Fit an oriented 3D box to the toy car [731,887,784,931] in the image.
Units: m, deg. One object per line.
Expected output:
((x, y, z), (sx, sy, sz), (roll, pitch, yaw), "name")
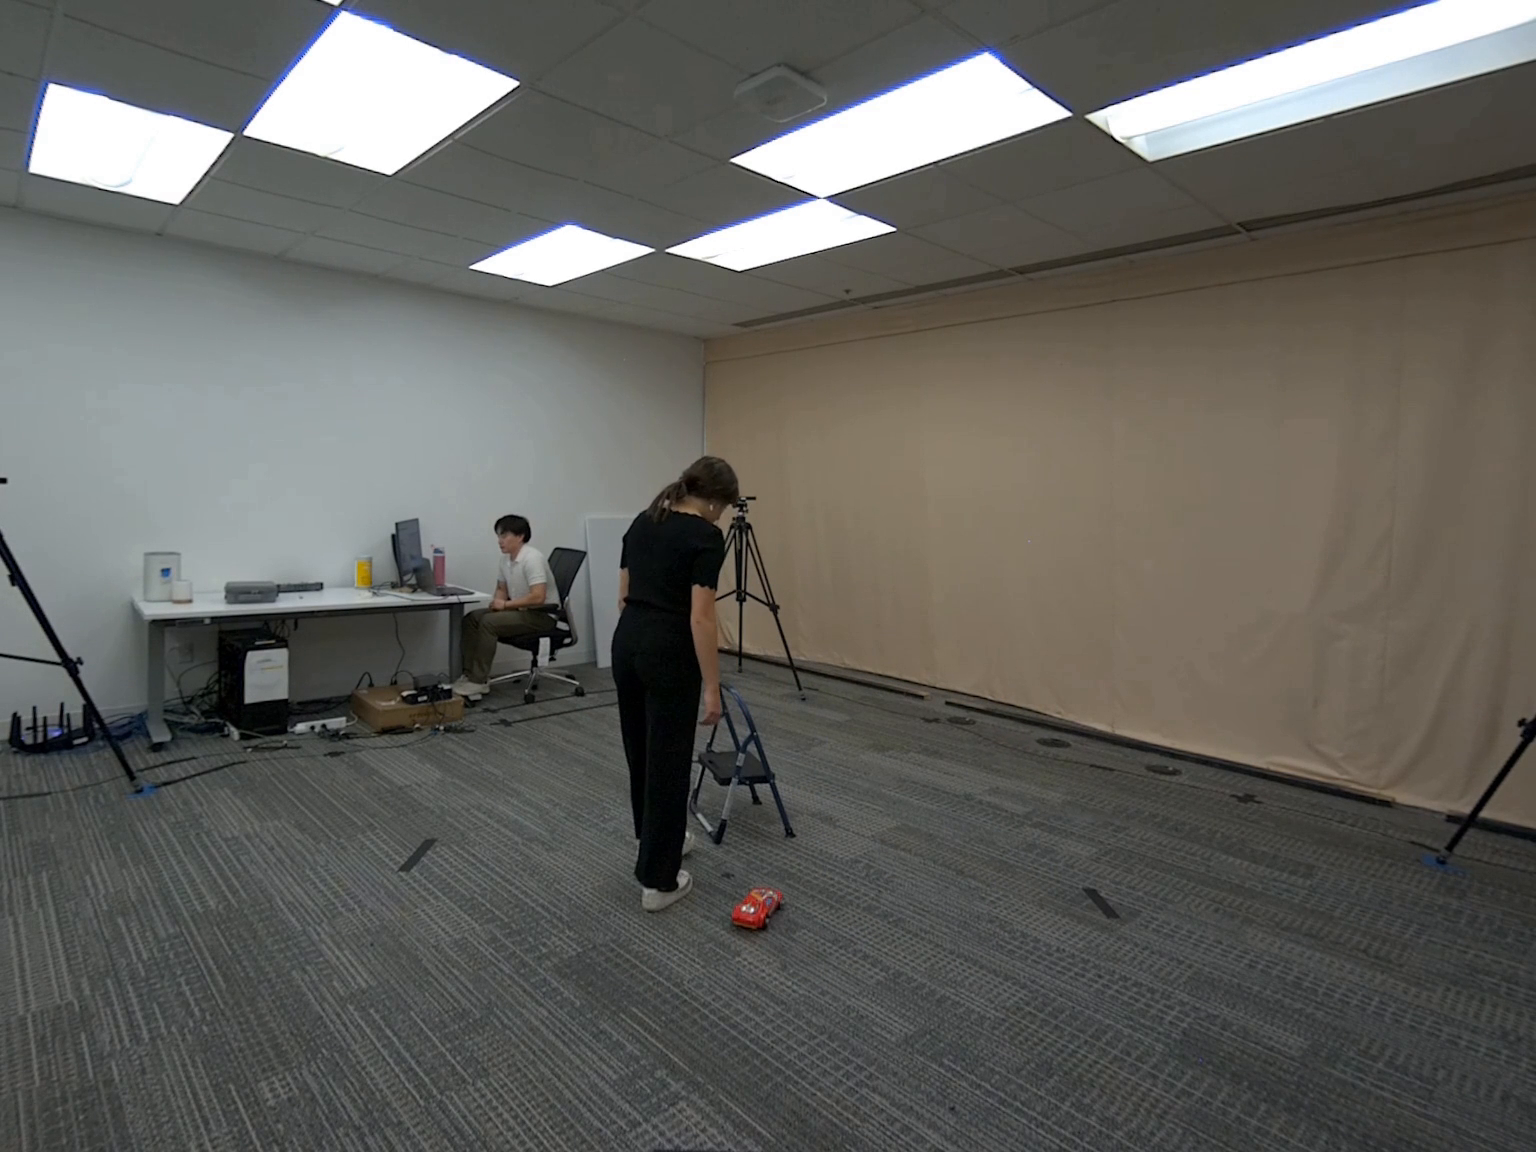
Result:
((-0.048, 1.105, 2.788), (0.132, 0.083, 0.249), (6, -4, 20), "toy car")
